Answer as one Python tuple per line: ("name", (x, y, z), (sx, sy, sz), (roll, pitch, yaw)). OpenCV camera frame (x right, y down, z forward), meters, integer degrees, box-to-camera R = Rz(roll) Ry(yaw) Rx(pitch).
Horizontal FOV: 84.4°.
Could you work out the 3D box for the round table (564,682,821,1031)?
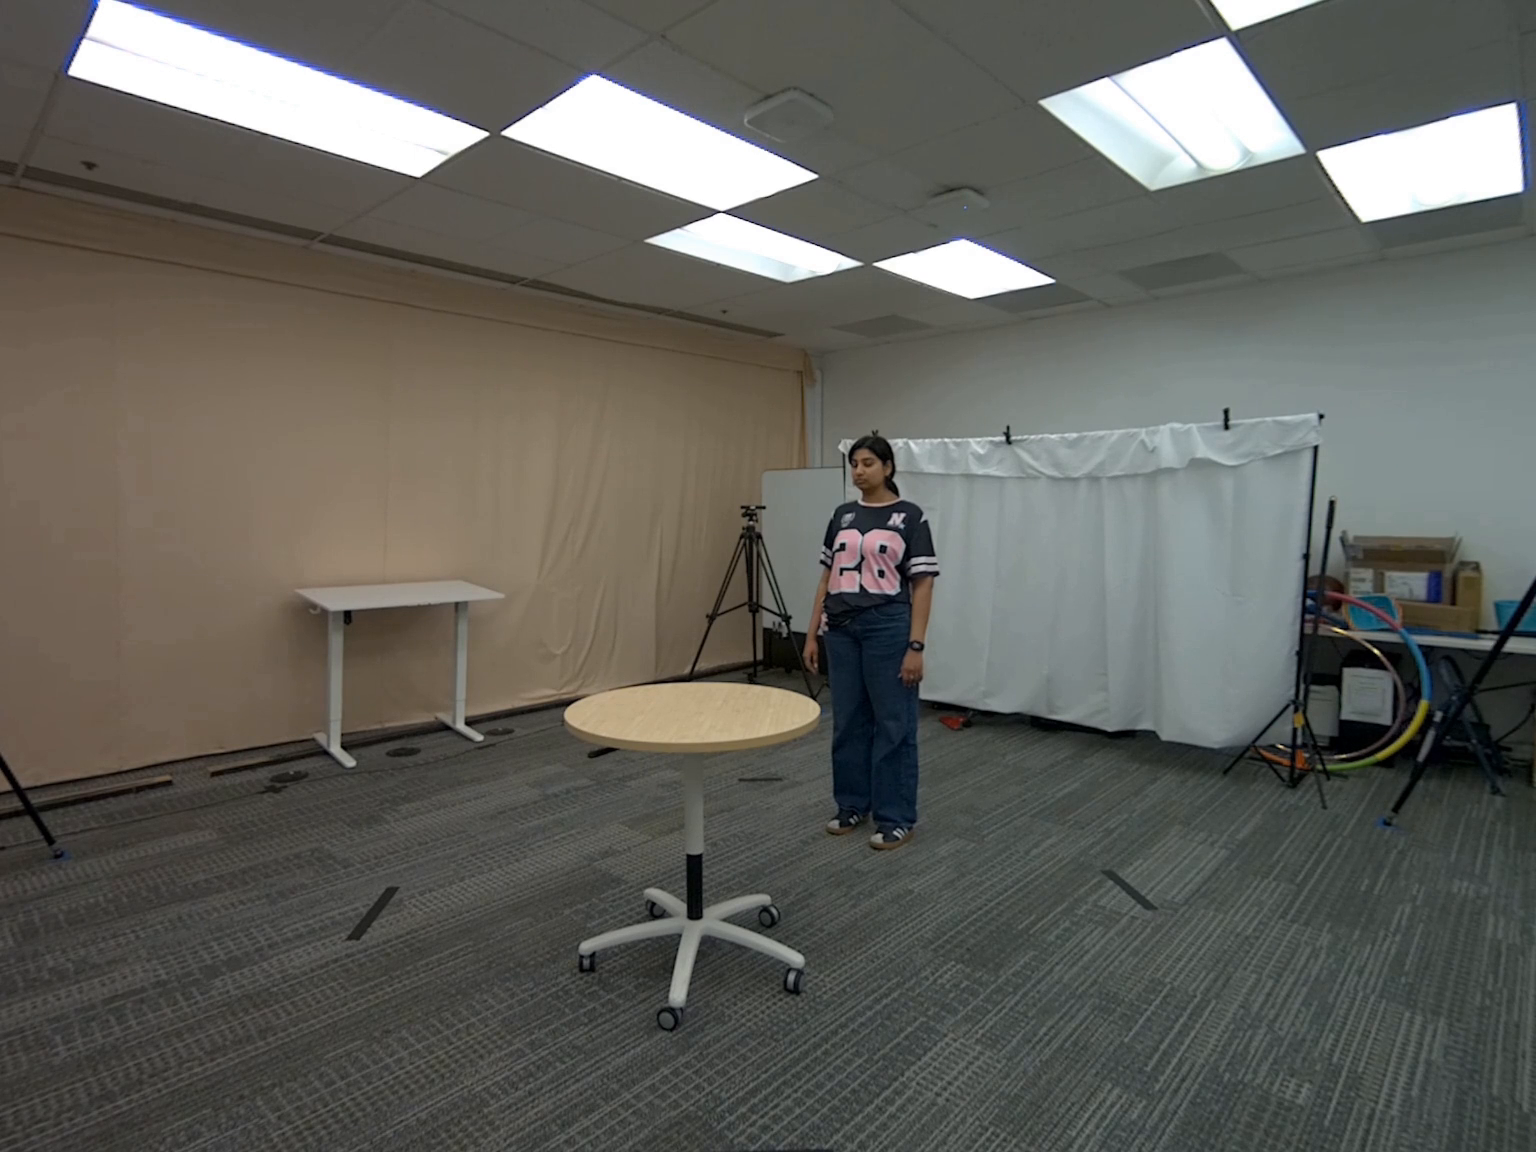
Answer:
("round table", (-0.207, 0.788, 2.561), (0.784, 0.784, 0.788), (-1, 4, -2))
